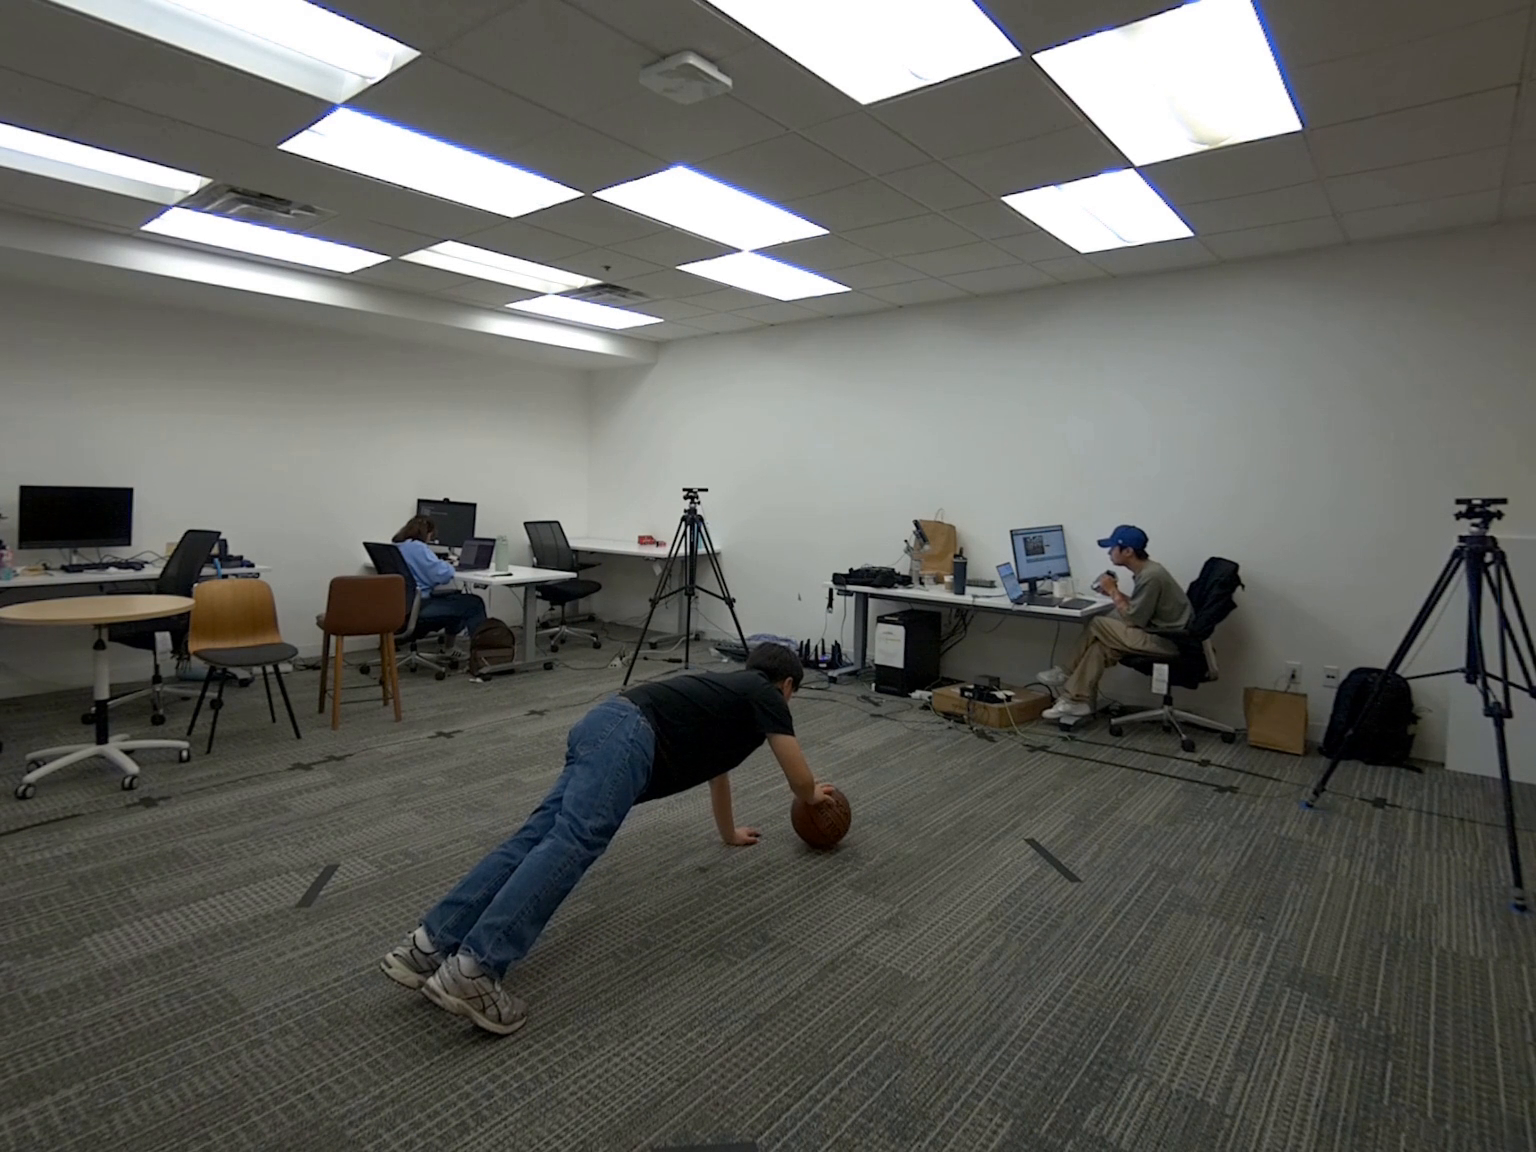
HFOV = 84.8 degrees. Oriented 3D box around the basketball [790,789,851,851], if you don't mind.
[{"bbox_3d":[0.203,0.931,3.346,0.235,0.235,0.237,1,4,-2],"label":"basketball"}]
